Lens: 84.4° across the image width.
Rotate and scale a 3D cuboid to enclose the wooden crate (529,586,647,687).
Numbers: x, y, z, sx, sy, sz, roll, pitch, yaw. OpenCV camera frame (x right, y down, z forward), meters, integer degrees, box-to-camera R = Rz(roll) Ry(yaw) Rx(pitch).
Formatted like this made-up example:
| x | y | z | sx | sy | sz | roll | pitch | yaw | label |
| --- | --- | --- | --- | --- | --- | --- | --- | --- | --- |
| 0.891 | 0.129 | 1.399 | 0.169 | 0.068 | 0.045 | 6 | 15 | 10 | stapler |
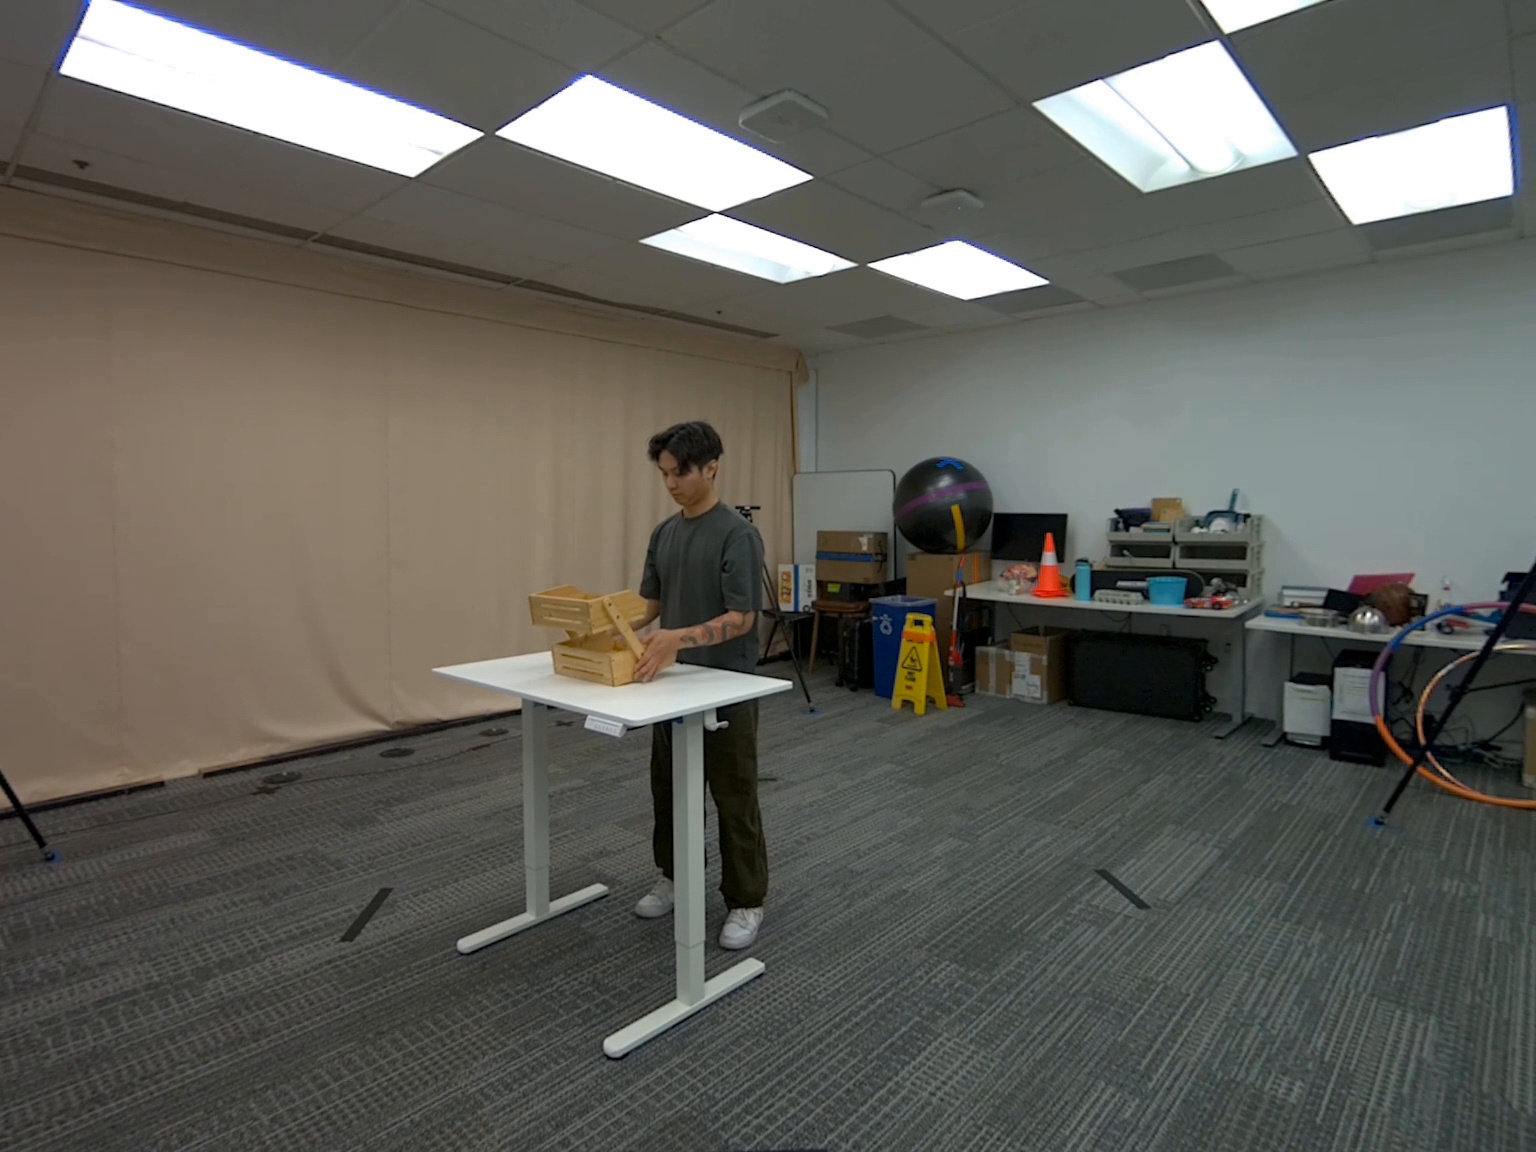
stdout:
| x | y | z | sx | sy | sz | roll | pitch | yaw | label |
| --- | --- | --- | --- | --- | --- | --- | --- | --- | --- |
| -0.496 | 0.161 | 2.527 | 0.335 | 0.271 | 0.294 | 2 | 12 | 43 | wooden crate |
